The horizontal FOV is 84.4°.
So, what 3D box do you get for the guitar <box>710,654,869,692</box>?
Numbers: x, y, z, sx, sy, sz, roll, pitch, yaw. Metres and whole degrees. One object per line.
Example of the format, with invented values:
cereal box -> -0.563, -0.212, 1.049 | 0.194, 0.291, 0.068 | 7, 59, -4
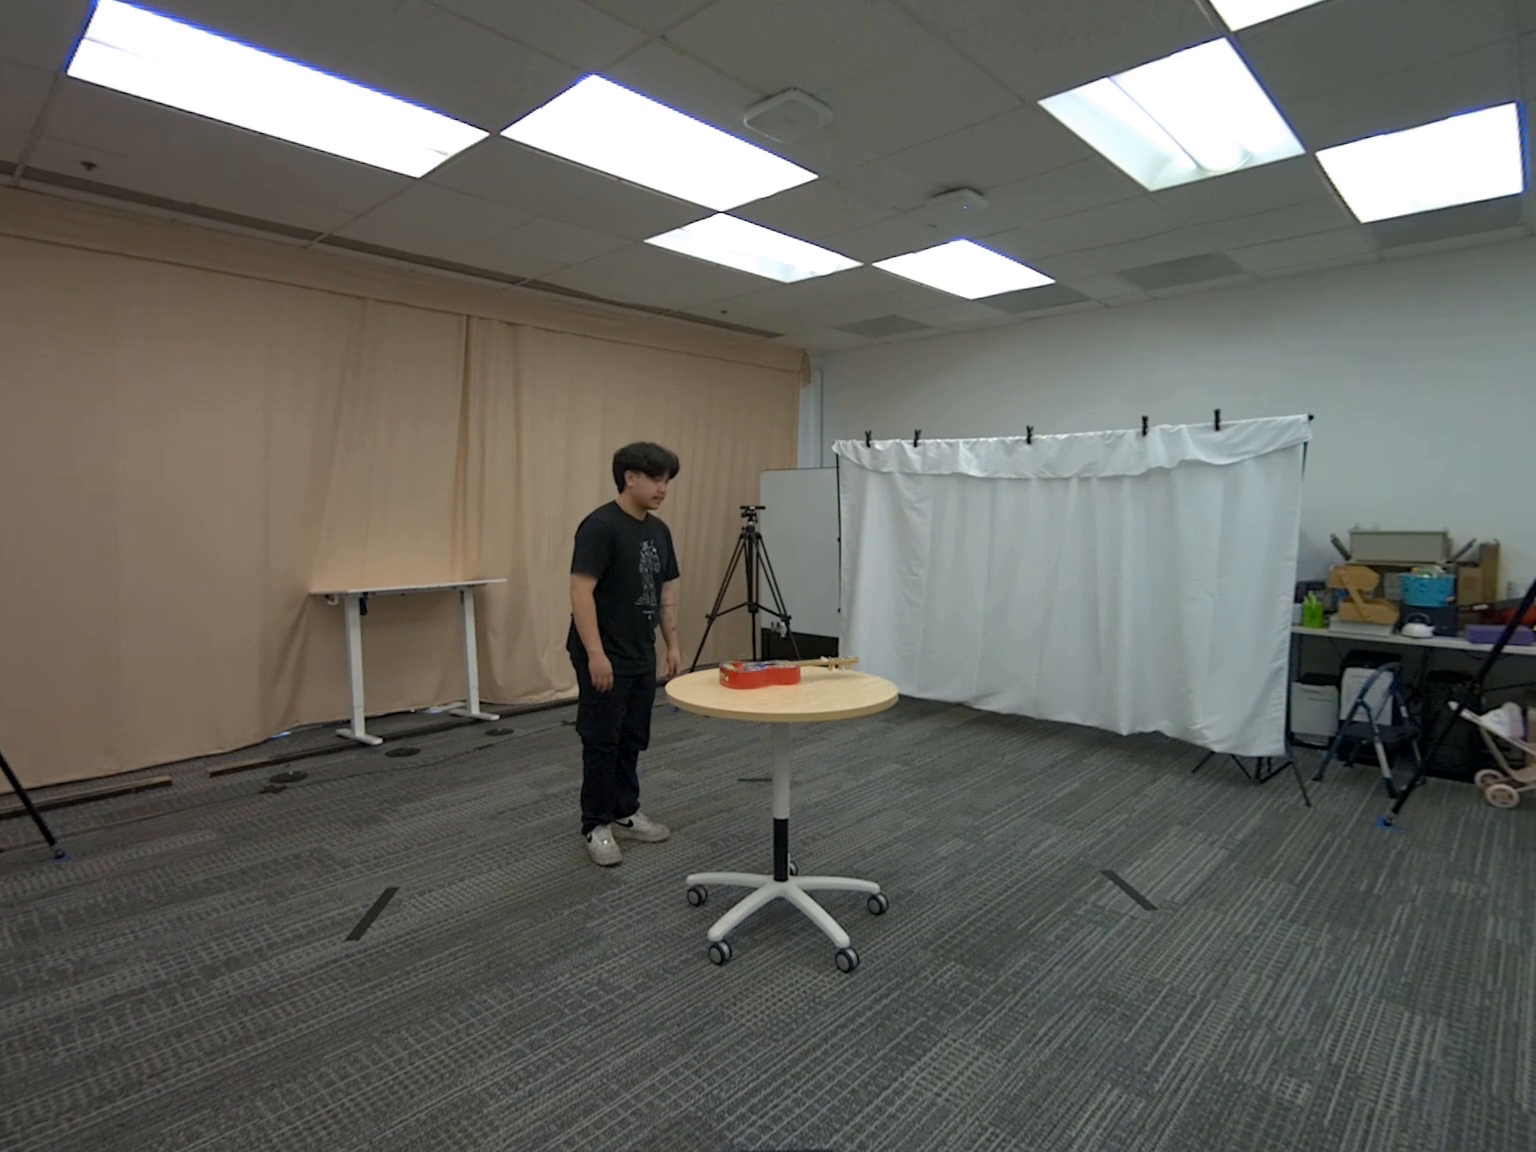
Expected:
guitar -> 0.065, 0.321, 2.847 | 0.493, 0.070, 0.195 | -1, 6, -9
